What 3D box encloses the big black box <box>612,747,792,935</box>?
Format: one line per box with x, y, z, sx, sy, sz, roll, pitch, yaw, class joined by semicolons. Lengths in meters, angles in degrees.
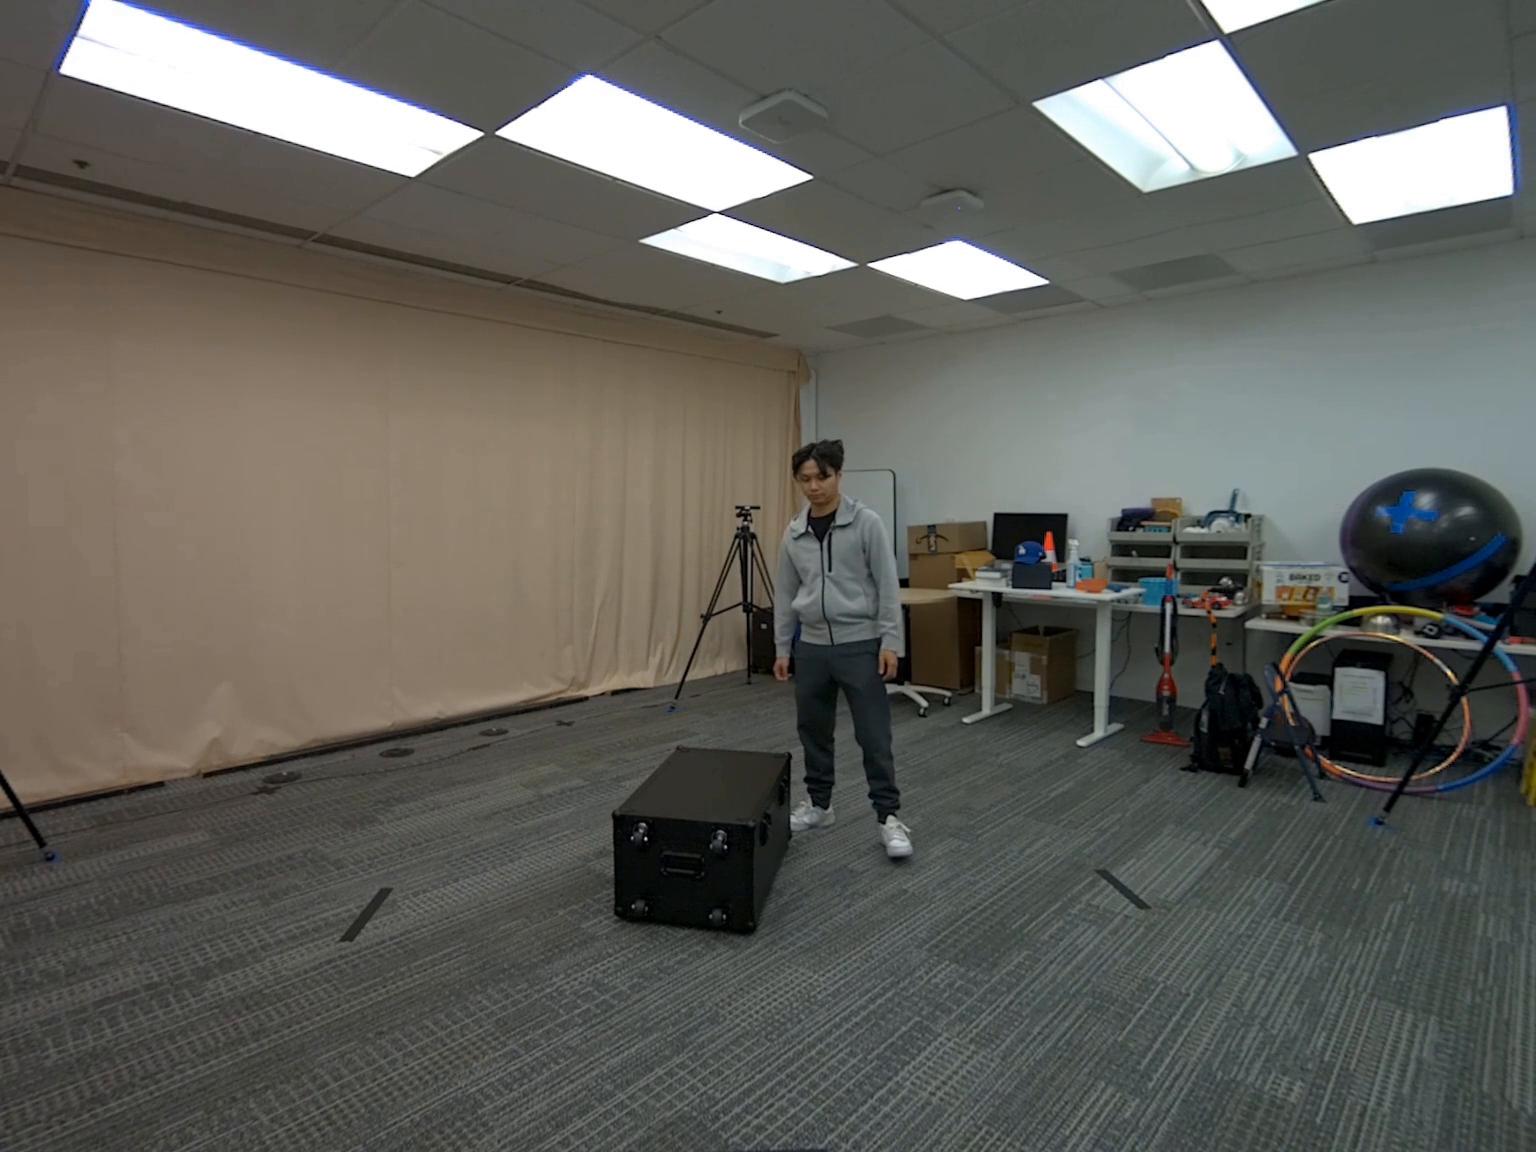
-0.222;0.940;3.098;0.528;0.395;0.851;0;4;11;big black box
